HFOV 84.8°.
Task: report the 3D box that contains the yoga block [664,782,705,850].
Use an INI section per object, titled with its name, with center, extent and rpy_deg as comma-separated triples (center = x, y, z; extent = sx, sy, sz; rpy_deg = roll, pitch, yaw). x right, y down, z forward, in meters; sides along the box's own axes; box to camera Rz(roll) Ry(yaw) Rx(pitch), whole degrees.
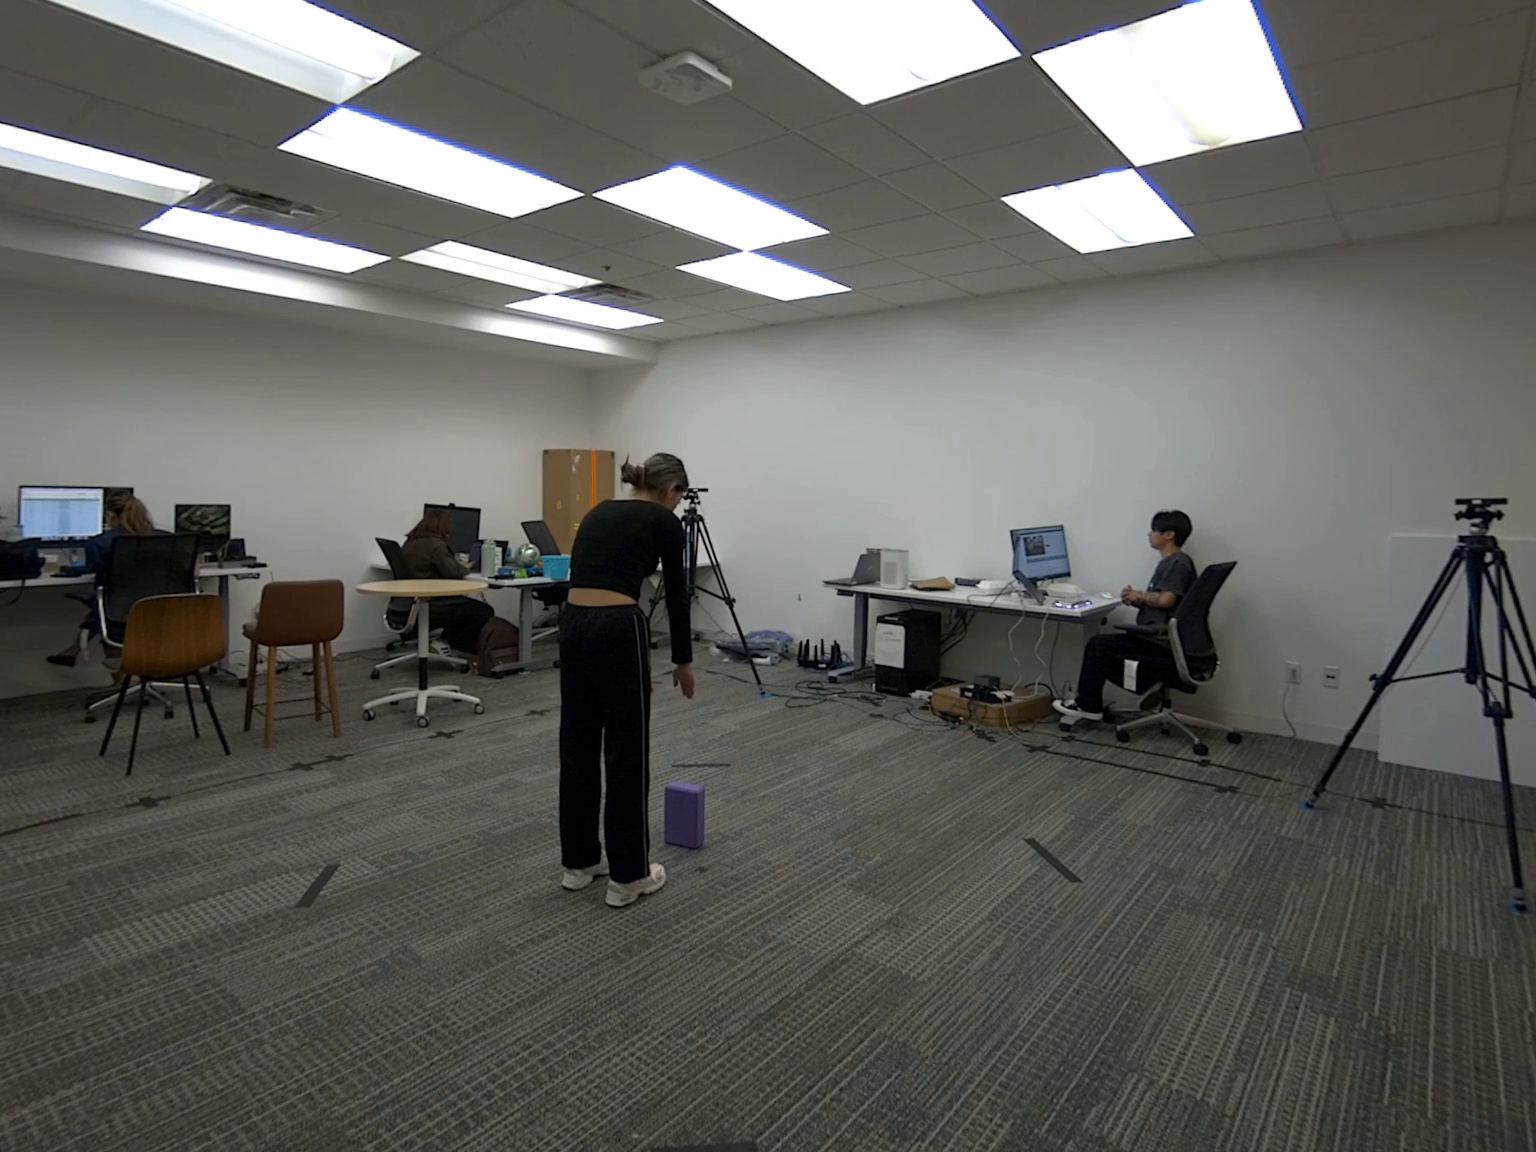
[yoga block]
center = -0.339, 0.931, 3.331
extent = 0.153, 0.229, 0.075
rpy_deg = 1, 2, 24
